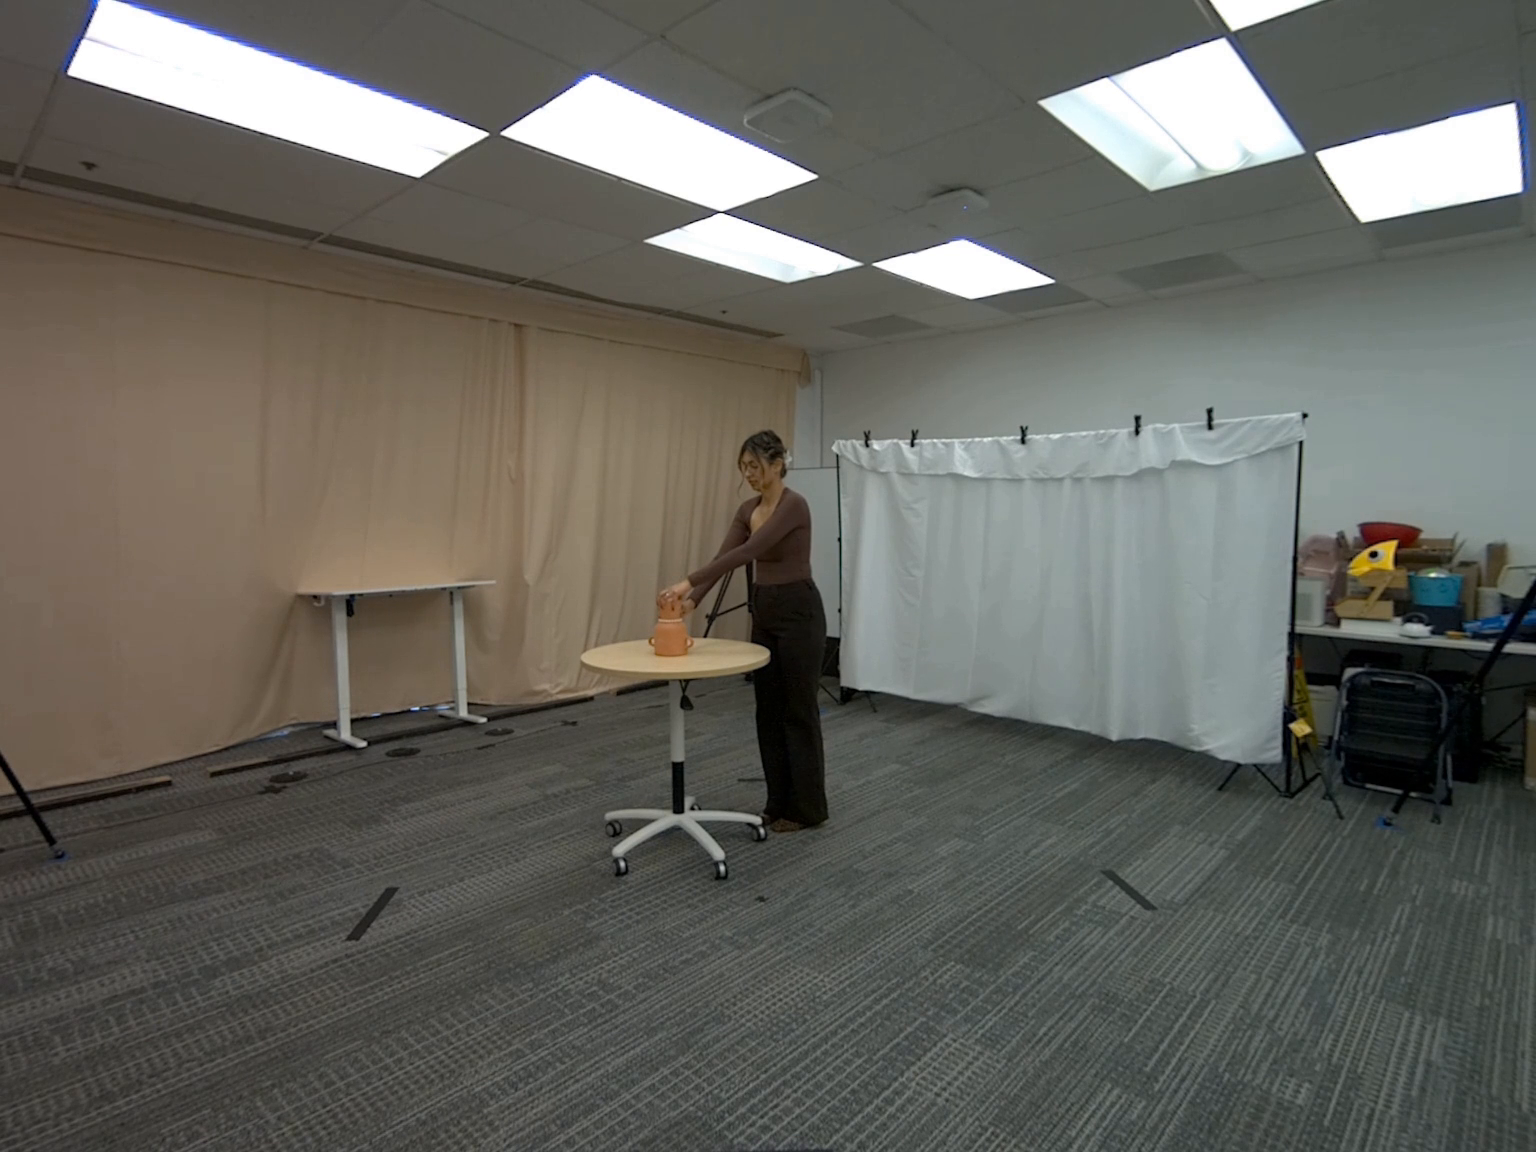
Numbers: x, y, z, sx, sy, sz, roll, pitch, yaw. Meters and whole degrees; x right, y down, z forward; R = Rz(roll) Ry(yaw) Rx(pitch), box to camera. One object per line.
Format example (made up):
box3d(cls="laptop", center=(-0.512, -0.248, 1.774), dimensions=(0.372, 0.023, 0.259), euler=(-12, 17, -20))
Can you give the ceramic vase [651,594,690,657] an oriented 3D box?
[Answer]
box3d(cls="ceramic vase", center=(-0.395, 0.205, 3.405), dimensions=(0.155, 0.220, 0.137), euler=(-1, 1, -21))
